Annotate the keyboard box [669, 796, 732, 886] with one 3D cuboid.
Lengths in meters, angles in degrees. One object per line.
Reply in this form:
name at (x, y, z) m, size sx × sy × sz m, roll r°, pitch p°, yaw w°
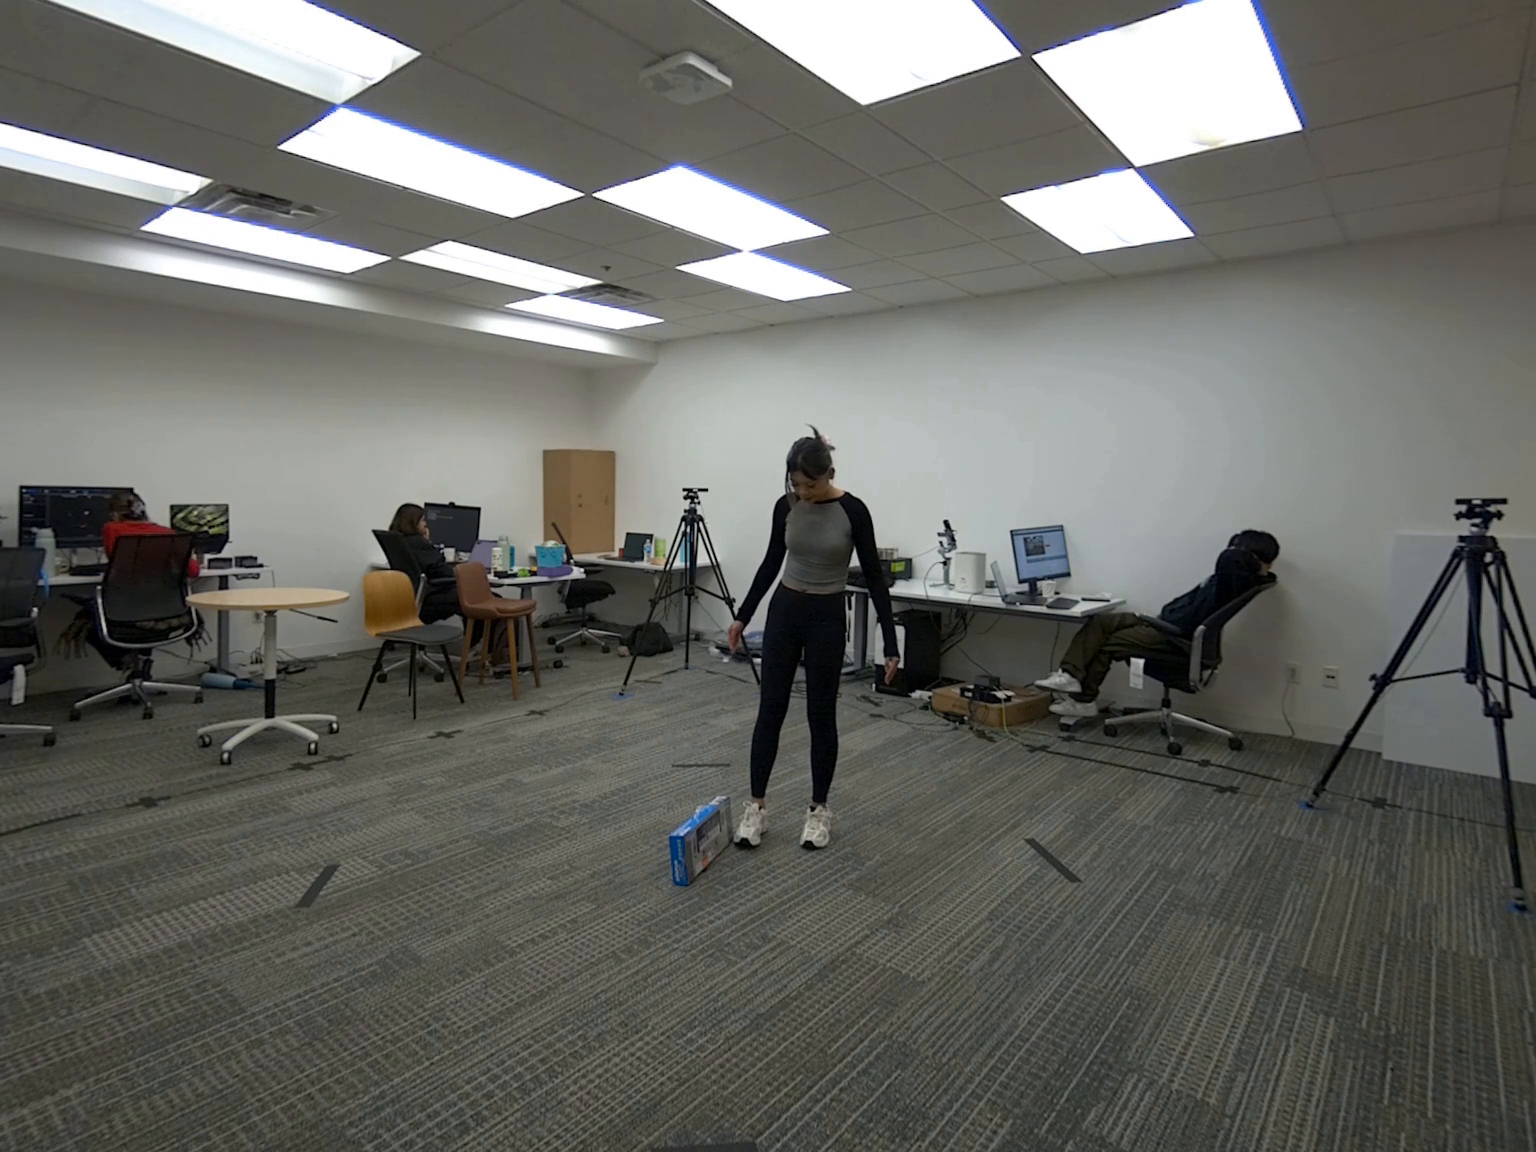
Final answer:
keyboard box at (-0.251, 0.973, 3.176) m, size 0.060 × 0.176 × 0.429 m, roll -6°, pitch 2°, yaw 20°
